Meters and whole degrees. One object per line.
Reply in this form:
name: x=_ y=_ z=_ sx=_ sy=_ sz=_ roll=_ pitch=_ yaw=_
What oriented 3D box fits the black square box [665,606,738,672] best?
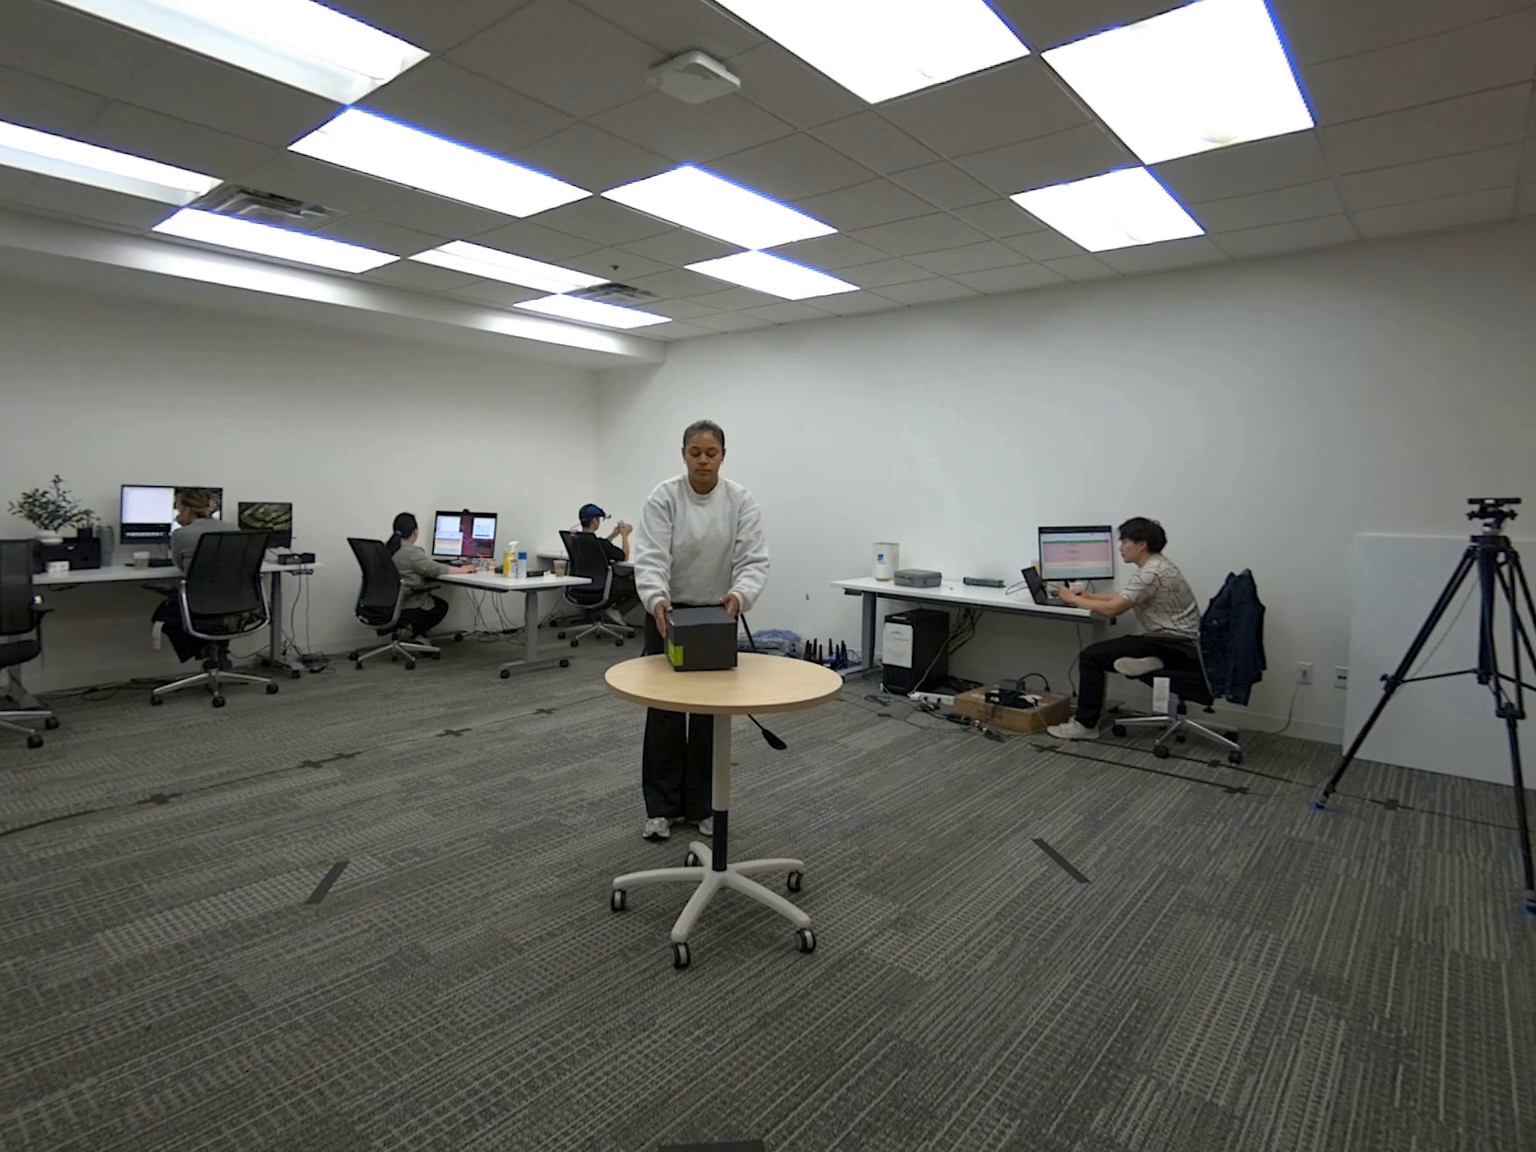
black square box: x=-0.251 y=0.200 z=2.903 sx=0.214 sy=0.155 sz=0.232 roll=1 pitch=9 yaw=-13
